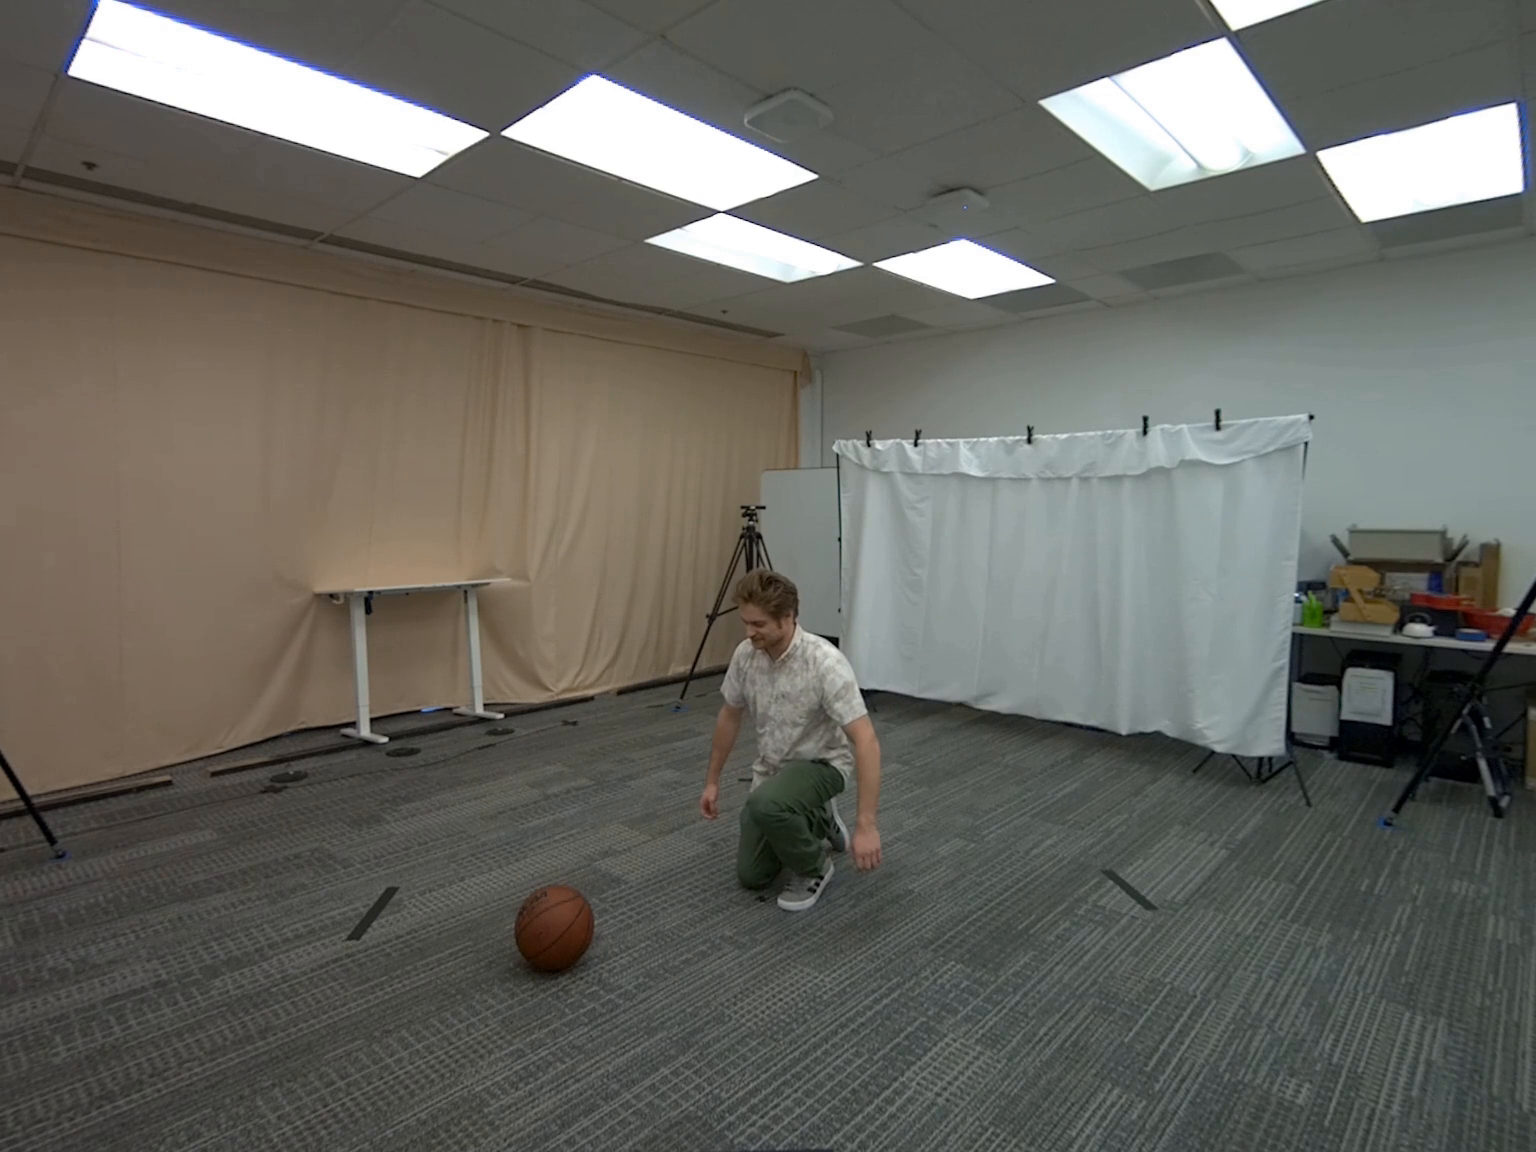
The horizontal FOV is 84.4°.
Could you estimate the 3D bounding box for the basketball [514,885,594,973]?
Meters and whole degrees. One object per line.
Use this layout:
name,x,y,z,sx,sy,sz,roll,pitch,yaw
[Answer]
basketball,-0.639,1.056,2.554,0.236,0.235,0.237,0,4,-2
